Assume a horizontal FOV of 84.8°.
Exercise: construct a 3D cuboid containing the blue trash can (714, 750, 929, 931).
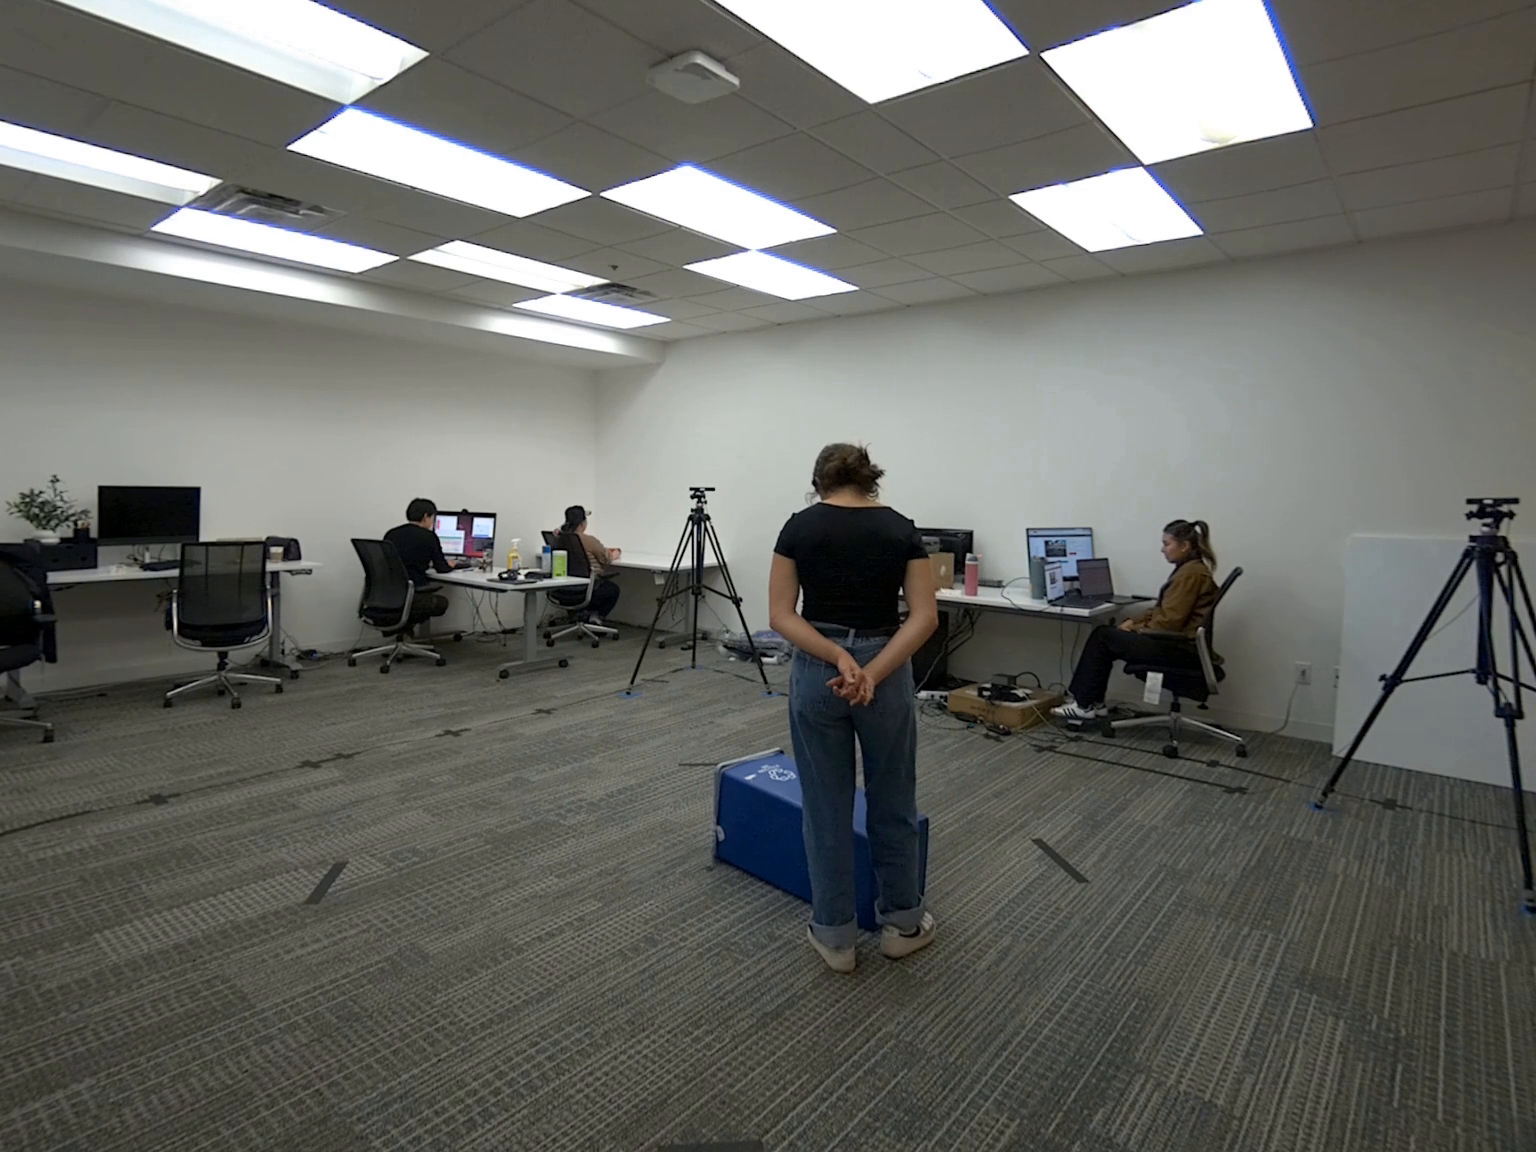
[{"bbox_3d":[0.166,0.917,3.022,0.740,0.376,0.363,10,9,44],"label":"blue trash can"}]
